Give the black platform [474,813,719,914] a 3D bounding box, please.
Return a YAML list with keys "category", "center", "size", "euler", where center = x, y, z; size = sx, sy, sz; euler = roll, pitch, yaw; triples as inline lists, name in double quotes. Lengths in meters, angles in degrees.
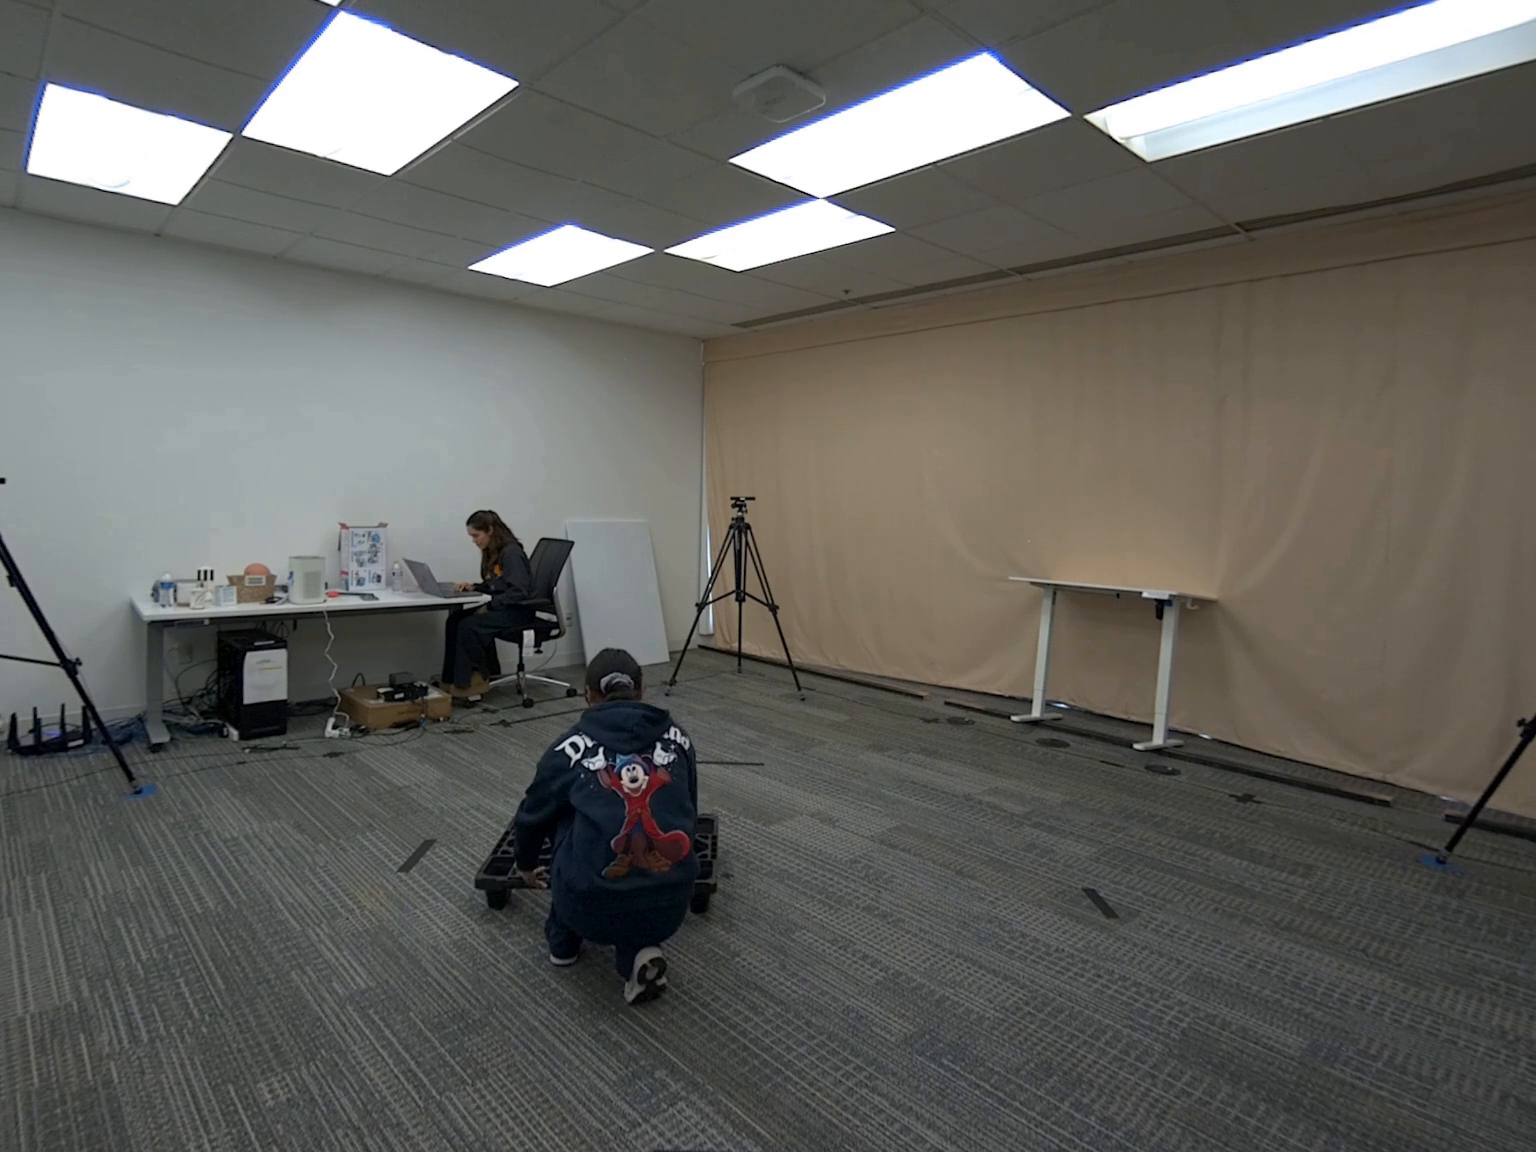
- category: "black platform"
  center: [-0.576, 1.039, 3.037]
  size: [0.805, 0.143, 0.608]
  euler: [1, 6, -2]
